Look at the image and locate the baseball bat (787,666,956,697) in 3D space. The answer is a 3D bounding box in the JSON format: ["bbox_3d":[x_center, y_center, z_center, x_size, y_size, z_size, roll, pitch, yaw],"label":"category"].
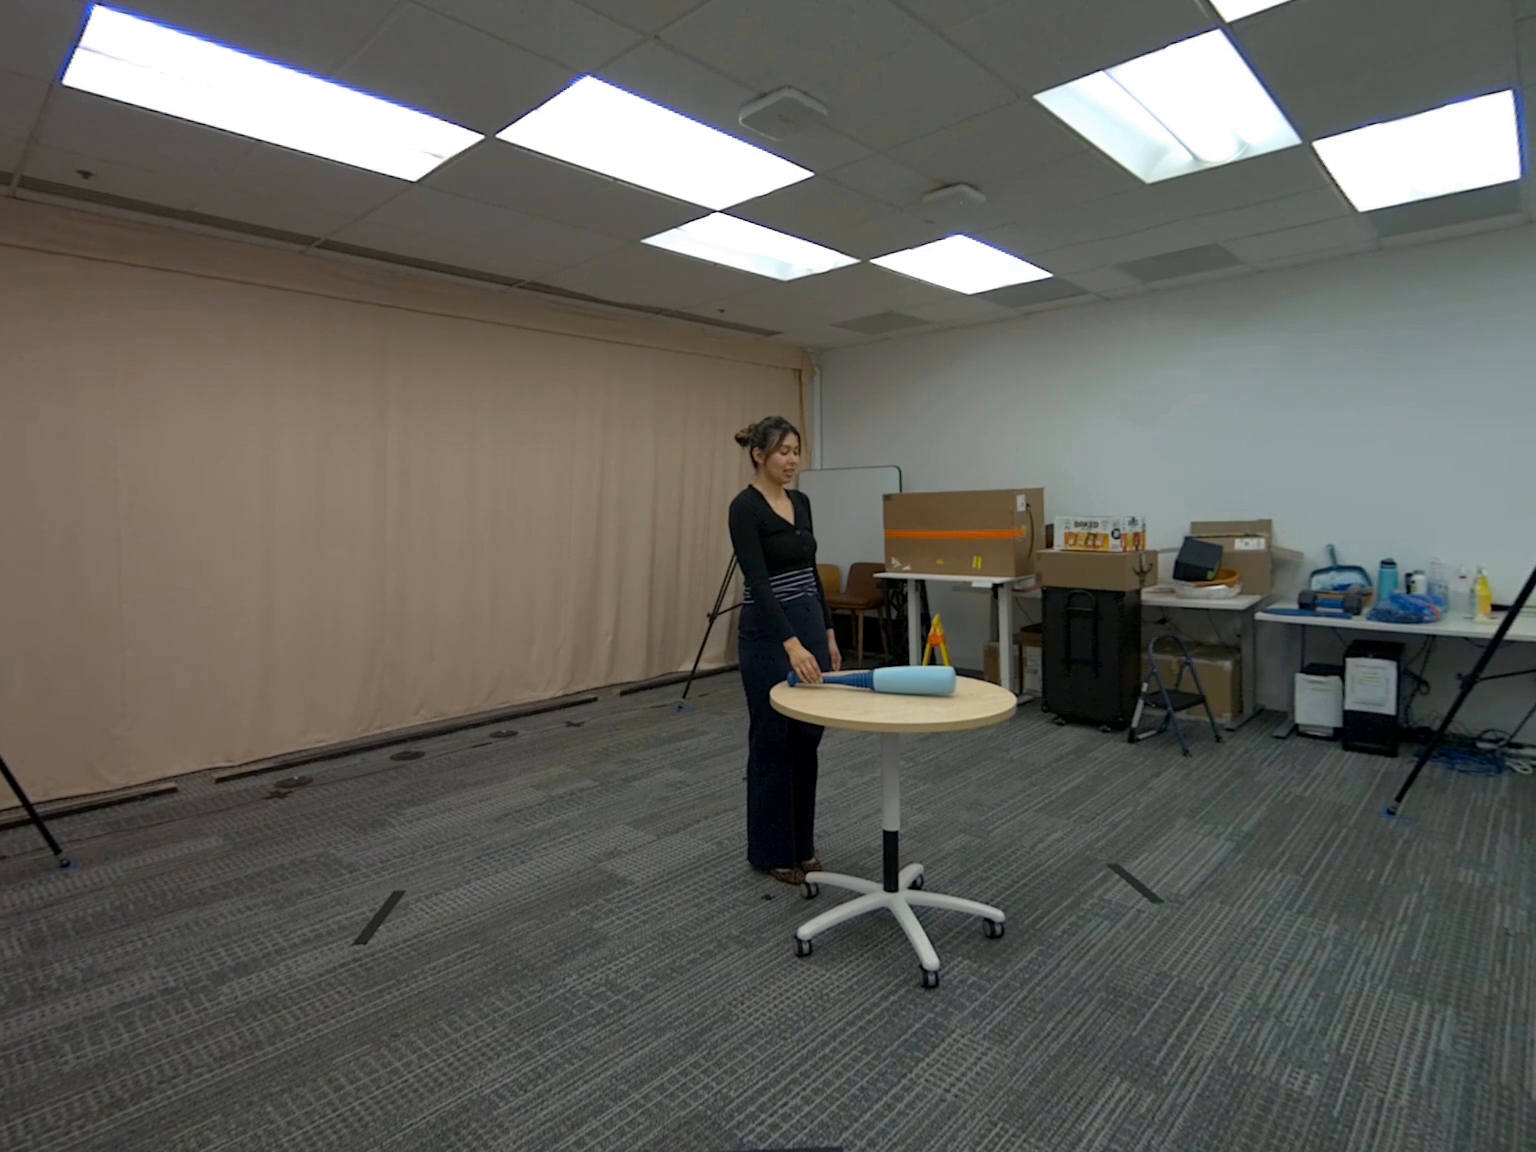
[{"bbox_3d":[0.335,0.339,2.715,0.554,0.089,0.087,-3,3,19],"label":"baseball bat"}]
